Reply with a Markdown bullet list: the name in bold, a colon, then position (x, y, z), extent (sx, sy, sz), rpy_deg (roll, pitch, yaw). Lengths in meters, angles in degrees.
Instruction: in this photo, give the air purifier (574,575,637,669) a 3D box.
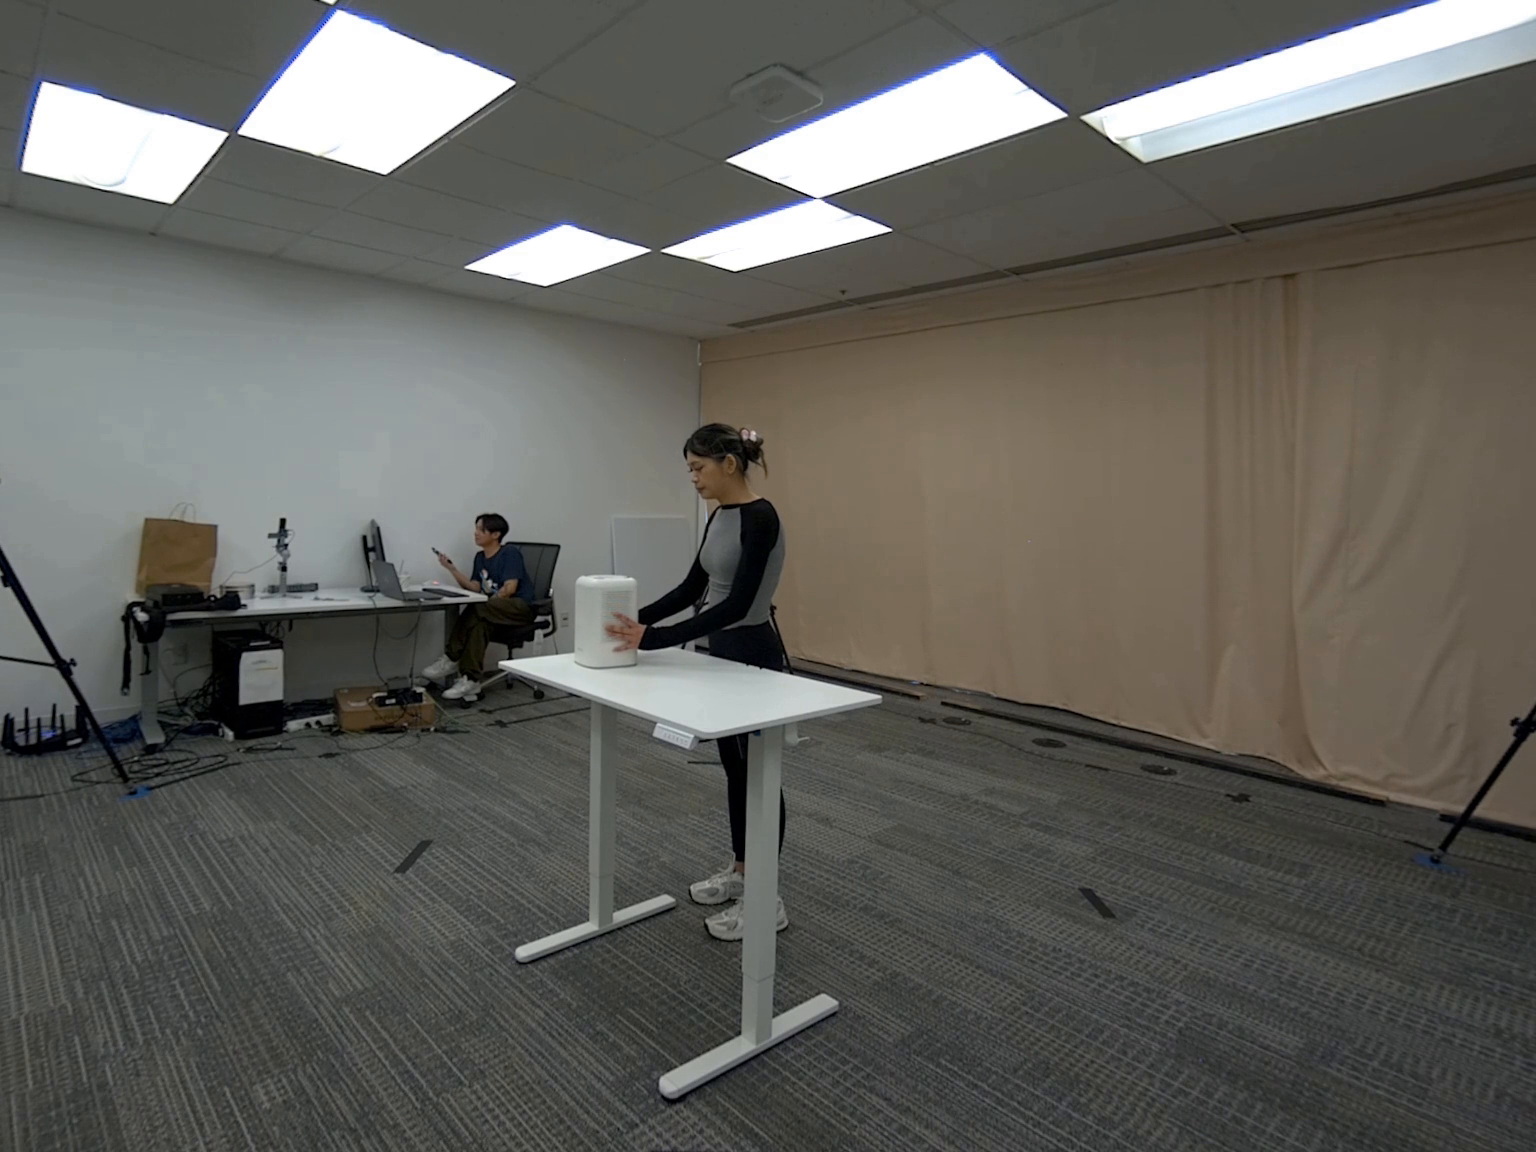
- **air purifier**: position (-0.494, 0.135, 2.566), extent (0.168, 0.265, 0.175), rpy_deg (-1, 2, -31)
